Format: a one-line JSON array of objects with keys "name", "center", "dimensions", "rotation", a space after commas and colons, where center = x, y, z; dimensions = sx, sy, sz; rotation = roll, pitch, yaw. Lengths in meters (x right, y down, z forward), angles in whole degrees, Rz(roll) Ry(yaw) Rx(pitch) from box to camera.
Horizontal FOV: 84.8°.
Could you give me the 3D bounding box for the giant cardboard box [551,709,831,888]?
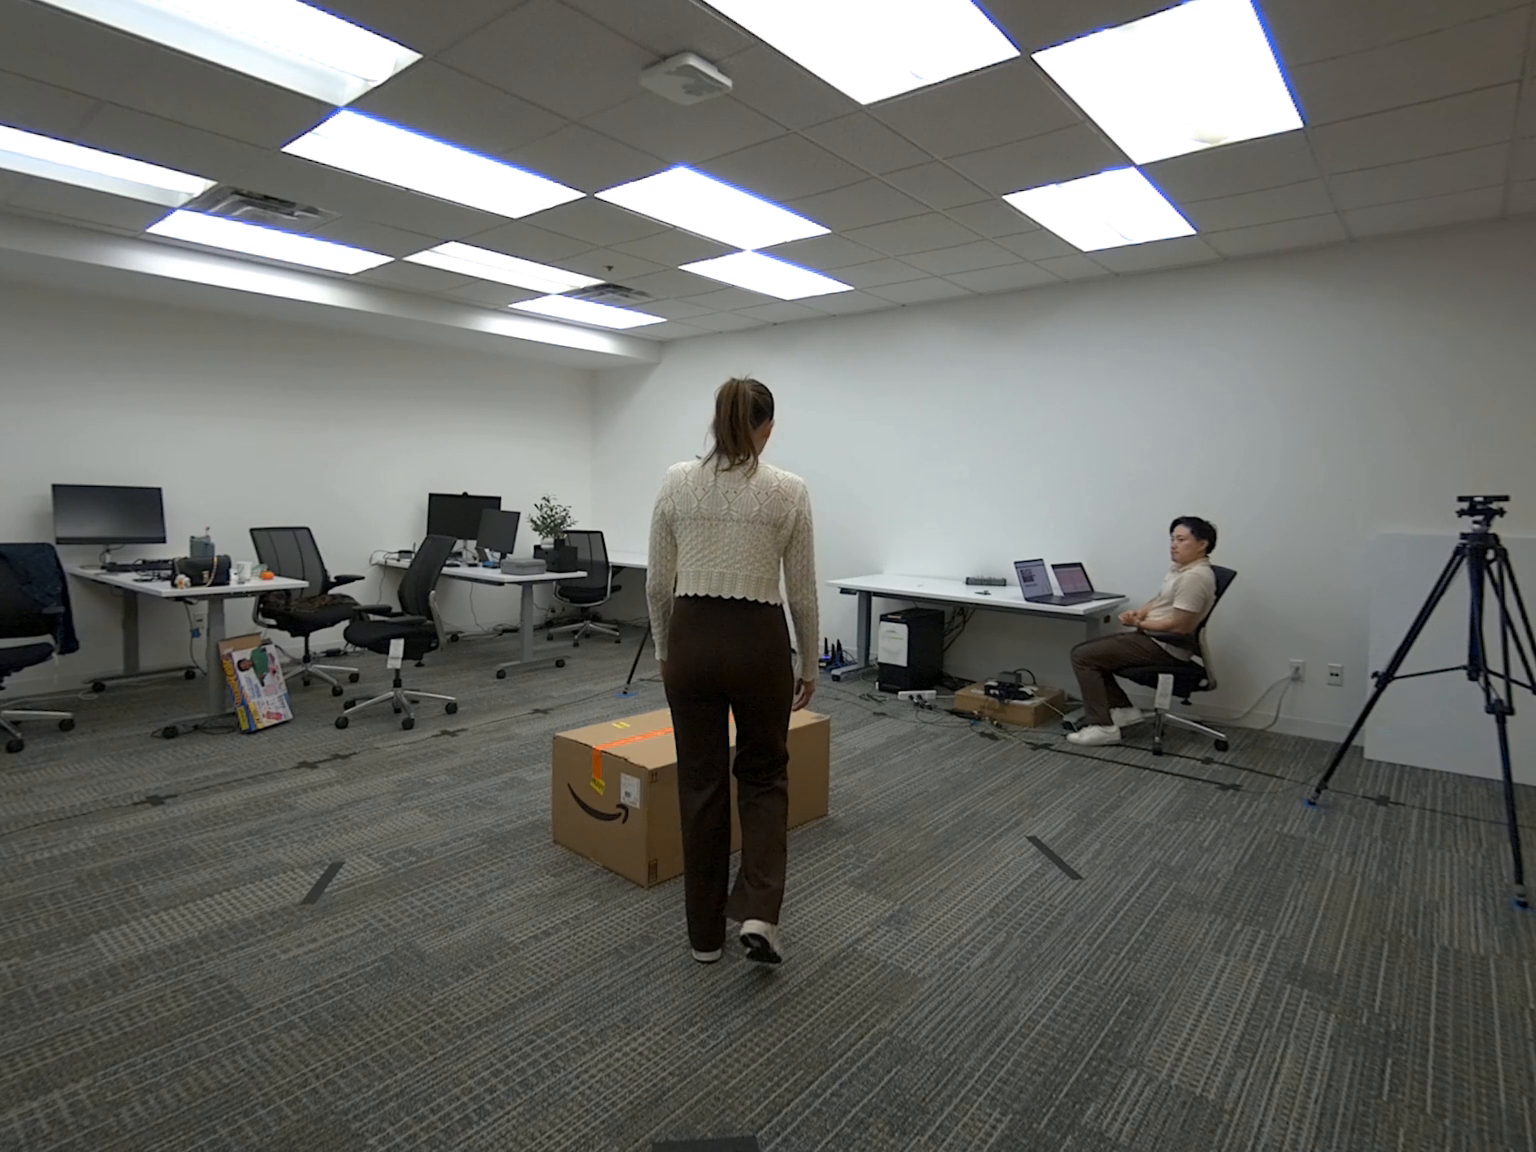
[{"name": "giant cardboard box", "center": [-0.300, 0.814, 3.478], "dimensions": [0.597, 0.425, 0.995], "rotation": [5, 6, 43]}]
